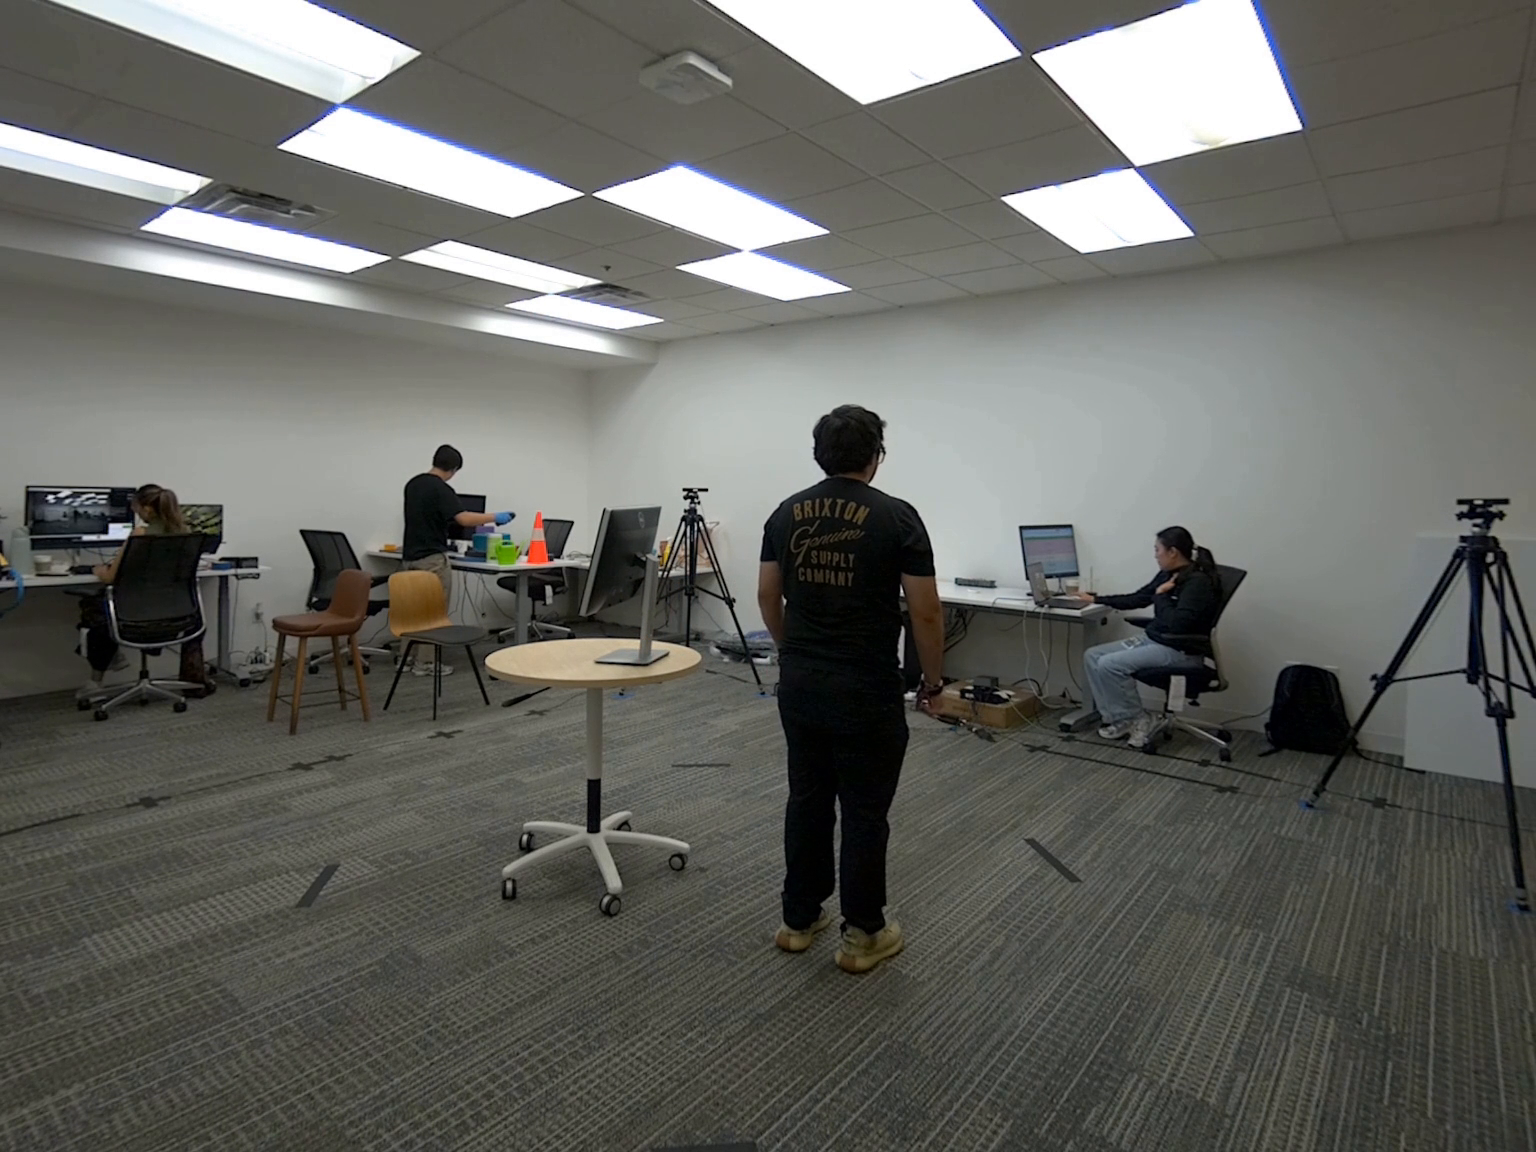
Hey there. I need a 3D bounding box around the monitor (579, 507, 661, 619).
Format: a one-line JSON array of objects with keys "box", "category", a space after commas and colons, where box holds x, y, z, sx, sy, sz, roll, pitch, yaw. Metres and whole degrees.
[{"box": [-0.466, 0.027, 3.012, 0.213, 0.552, 0.559, 8, 6, 10], "category": "monitor"}]
